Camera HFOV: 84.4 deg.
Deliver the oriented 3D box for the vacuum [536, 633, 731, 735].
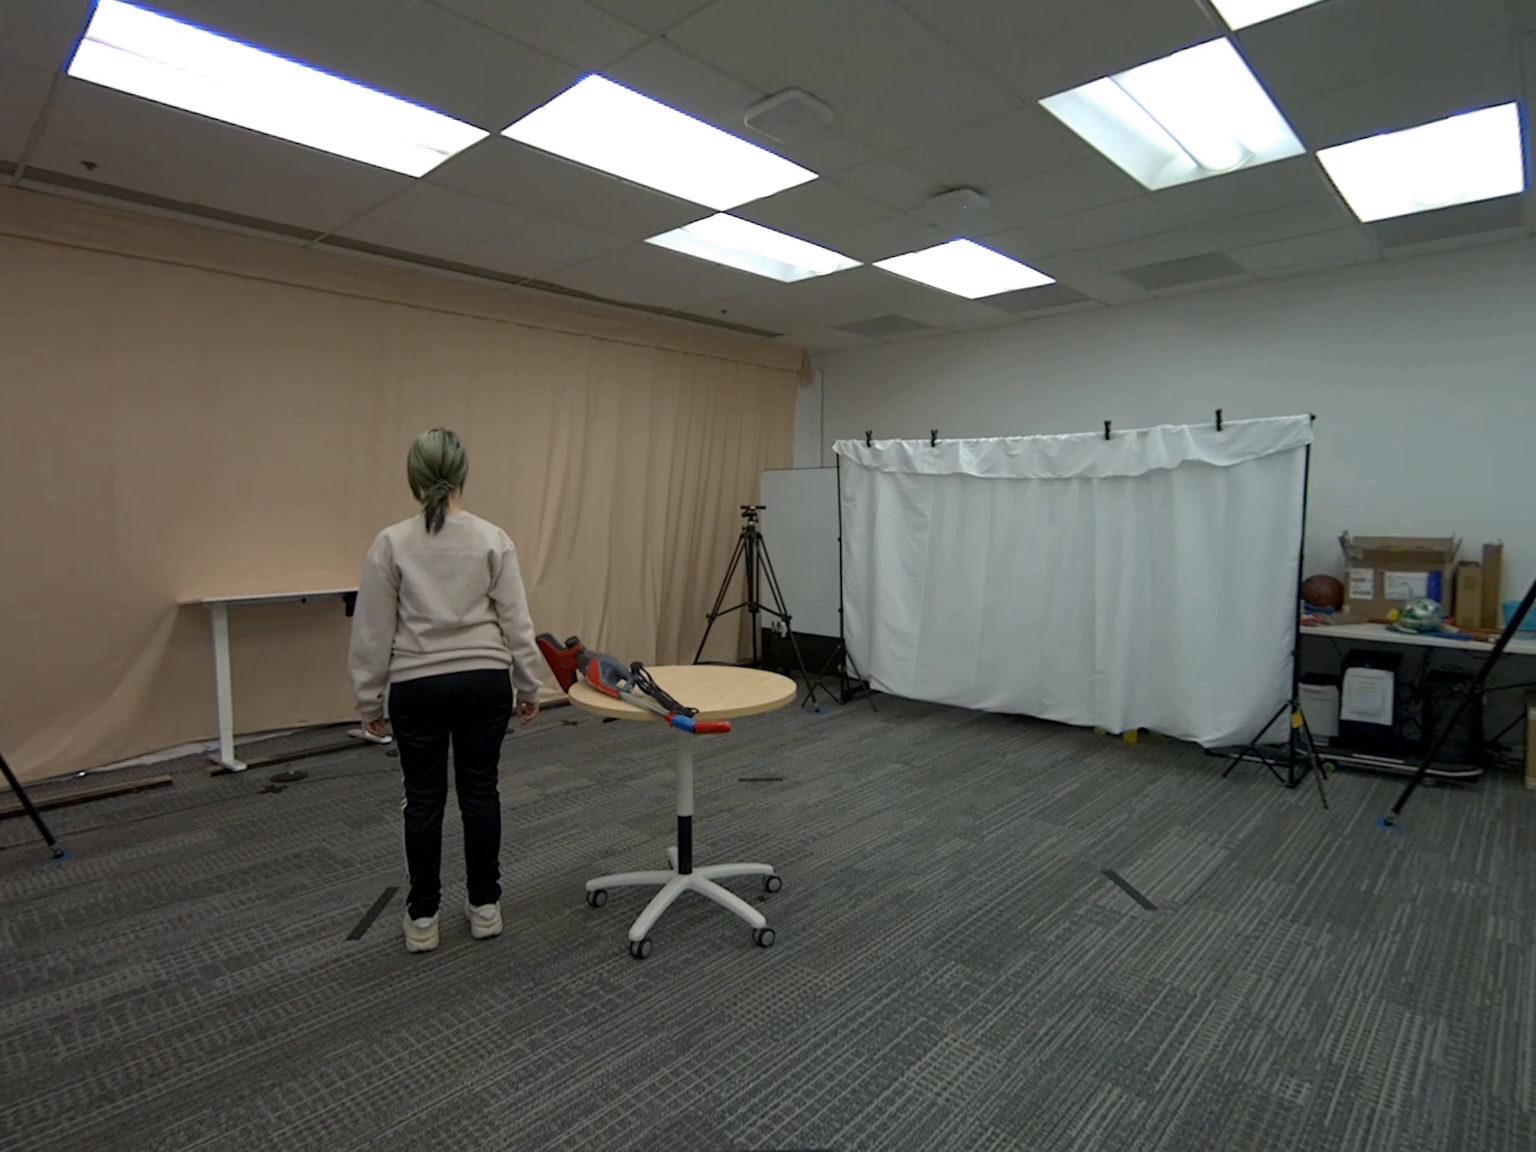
[{"bbox_3d":[-0.428,0.353,2.654,0.142,0.248,1.083,-35,23,-27],"label":"vacuum"}]
